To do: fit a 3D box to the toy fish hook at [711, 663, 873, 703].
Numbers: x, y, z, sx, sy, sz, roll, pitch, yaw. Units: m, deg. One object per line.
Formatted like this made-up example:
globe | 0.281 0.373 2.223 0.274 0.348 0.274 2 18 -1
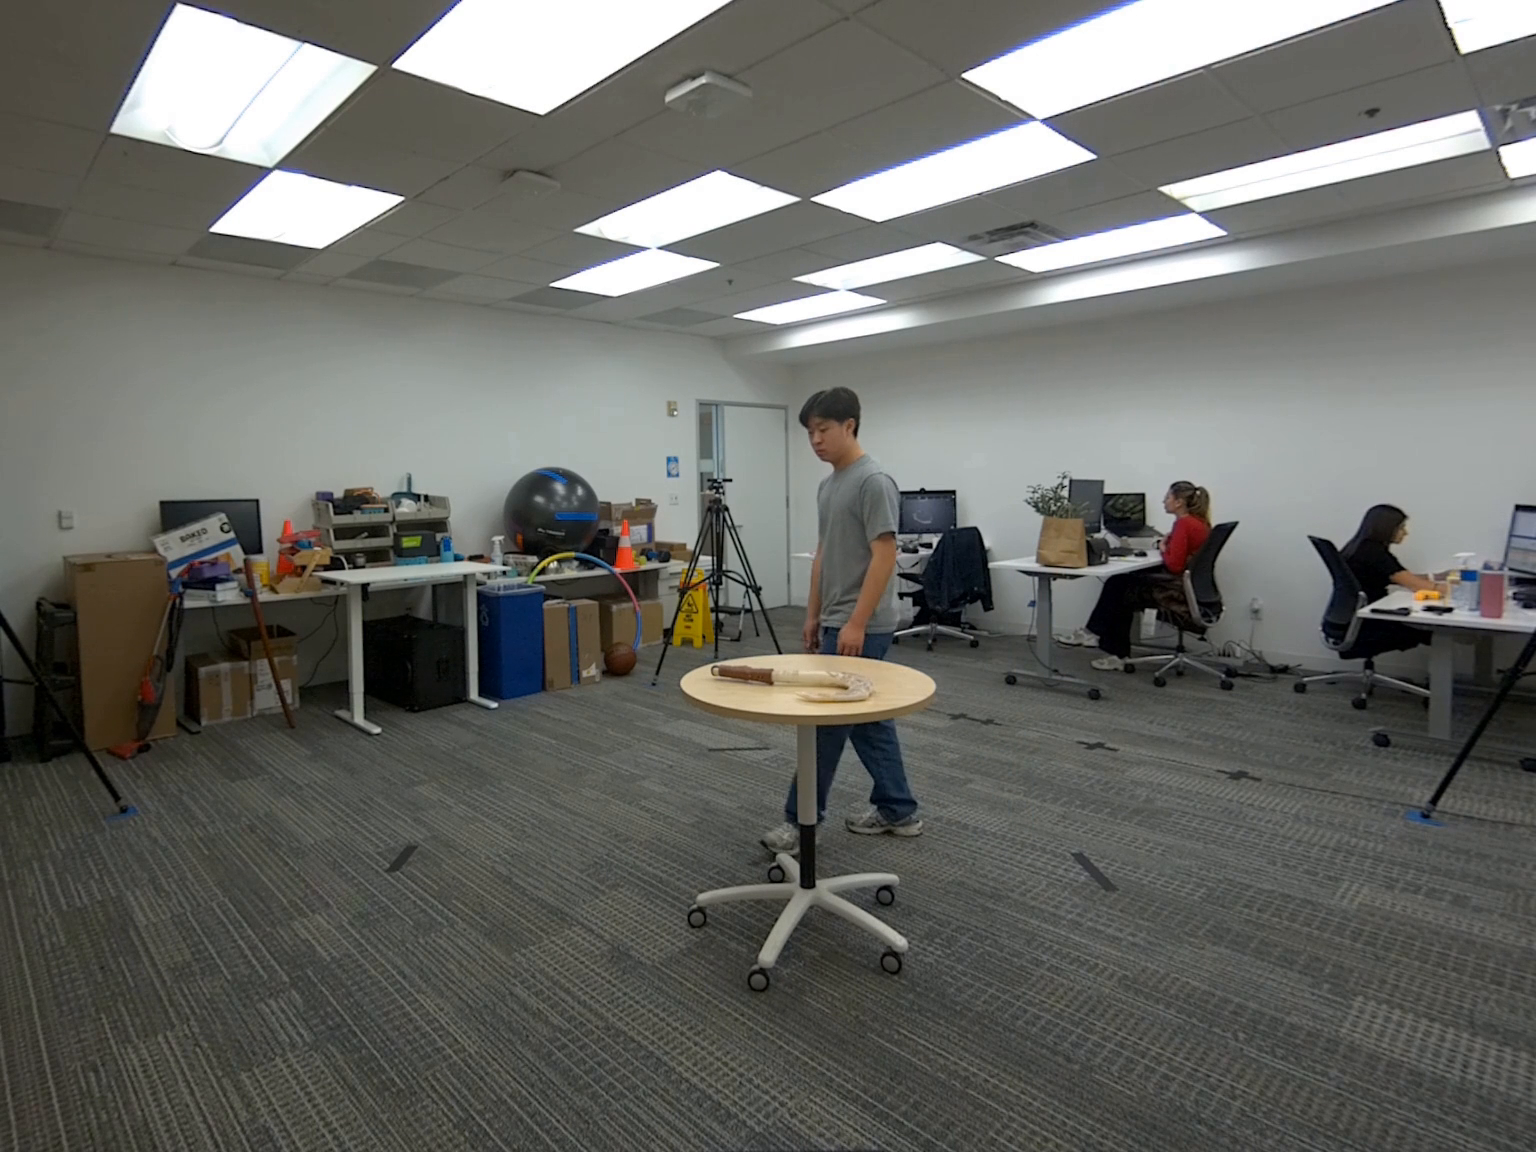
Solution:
toy fish hook | 0.059 0.314 2.480 0.517 0.048 0.221 2 7 21
